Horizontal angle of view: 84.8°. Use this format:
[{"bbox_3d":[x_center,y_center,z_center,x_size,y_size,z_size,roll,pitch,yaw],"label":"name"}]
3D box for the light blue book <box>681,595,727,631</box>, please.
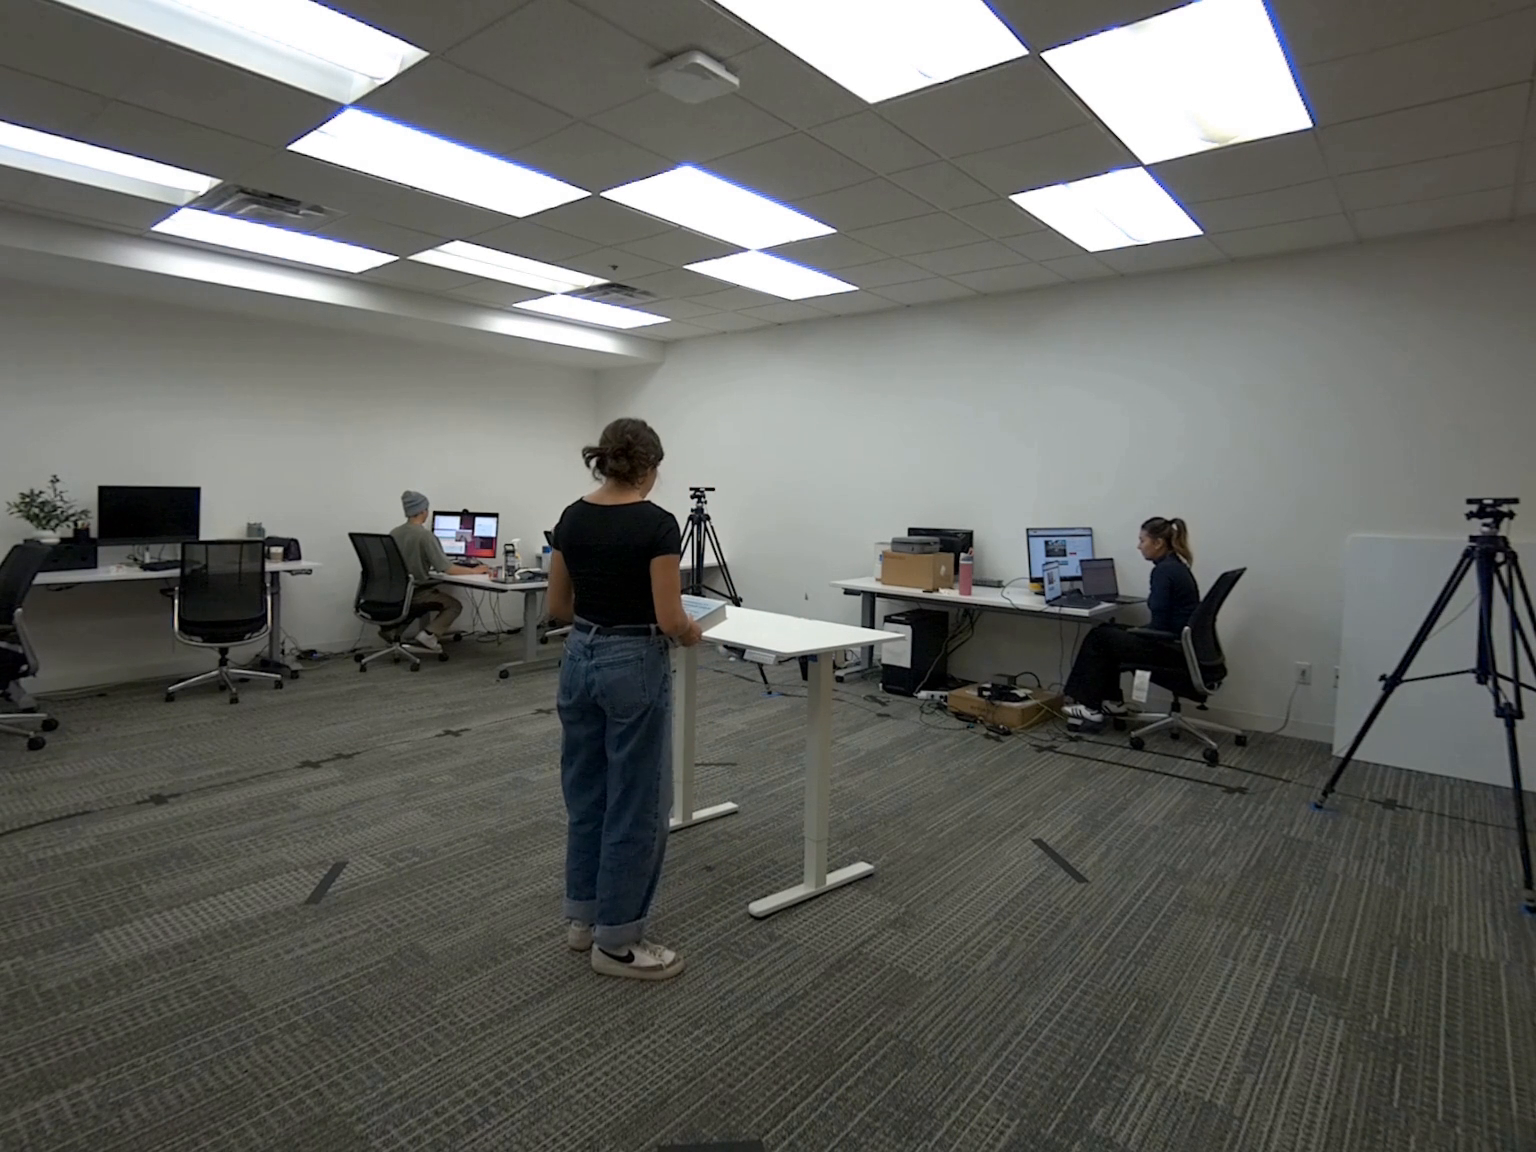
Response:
[{"bbox_3d":[-0.271,0.136,2.707,0.197,0.058,0.257,7,21,33],"label":"light blue book"}]
